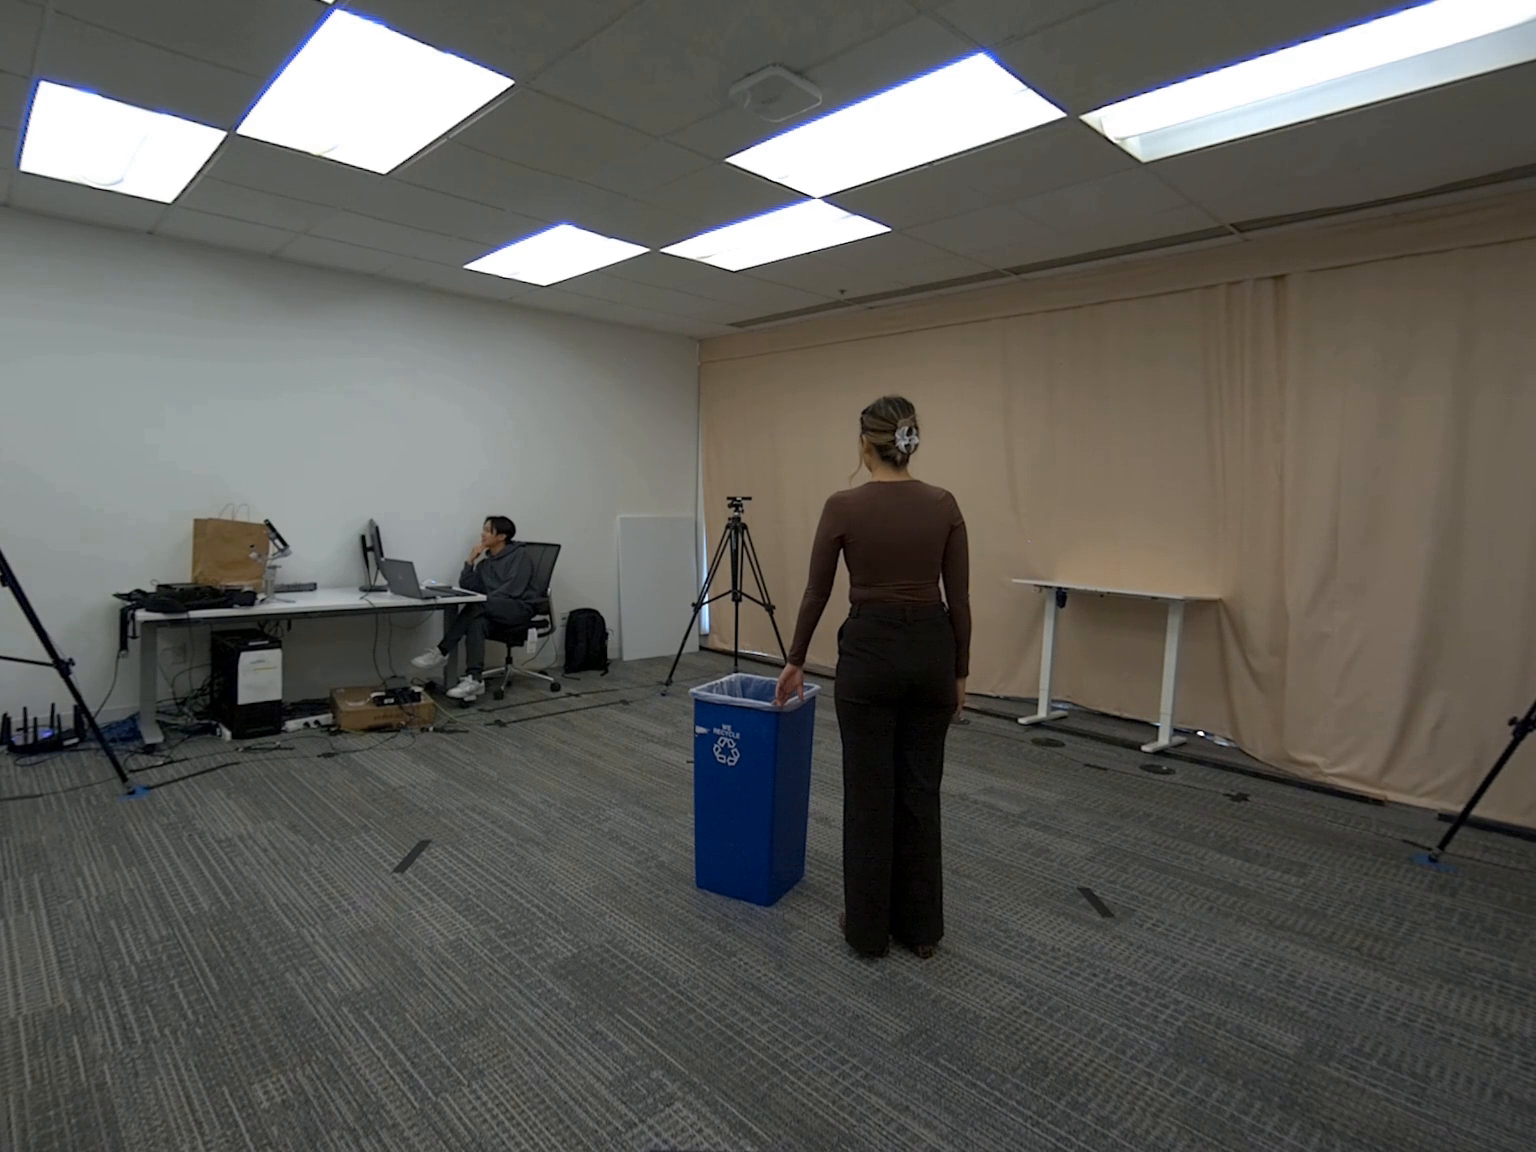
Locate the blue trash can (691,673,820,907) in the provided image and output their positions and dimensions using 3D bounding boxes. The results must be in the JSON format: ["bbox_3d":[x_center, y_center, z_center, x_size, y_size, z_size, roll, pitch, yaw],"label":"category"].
[{"bbox_3d":[-0.054,0.754,3.044,0.382,0.712,0.371,3,4,28],"label":"blue trash can"}]
